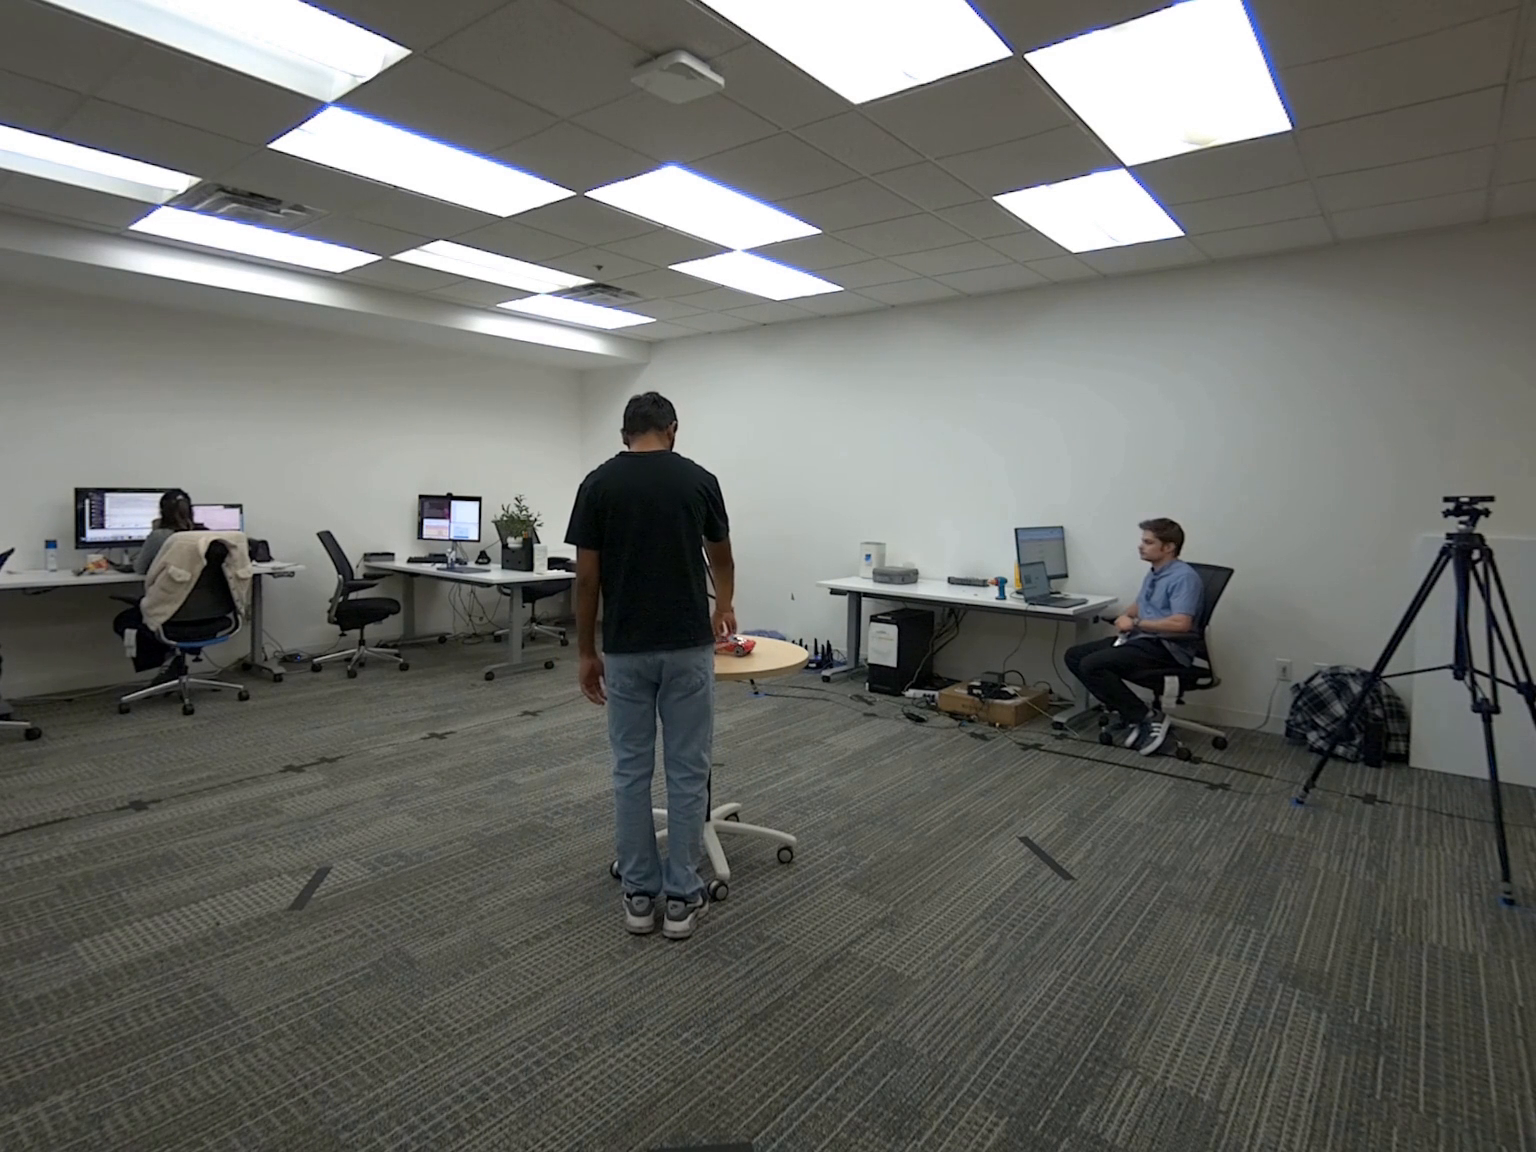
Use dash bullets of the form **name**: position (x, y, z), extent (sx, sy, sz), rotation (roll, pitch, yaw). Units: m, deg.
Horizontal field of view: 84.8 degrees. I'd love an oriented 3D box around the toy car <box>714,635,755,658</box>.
- **toy car**: position (-0.188, 0.251, 3.155), extent (0.261, 0.082, 0.128), rotation (14, 11, 21)
